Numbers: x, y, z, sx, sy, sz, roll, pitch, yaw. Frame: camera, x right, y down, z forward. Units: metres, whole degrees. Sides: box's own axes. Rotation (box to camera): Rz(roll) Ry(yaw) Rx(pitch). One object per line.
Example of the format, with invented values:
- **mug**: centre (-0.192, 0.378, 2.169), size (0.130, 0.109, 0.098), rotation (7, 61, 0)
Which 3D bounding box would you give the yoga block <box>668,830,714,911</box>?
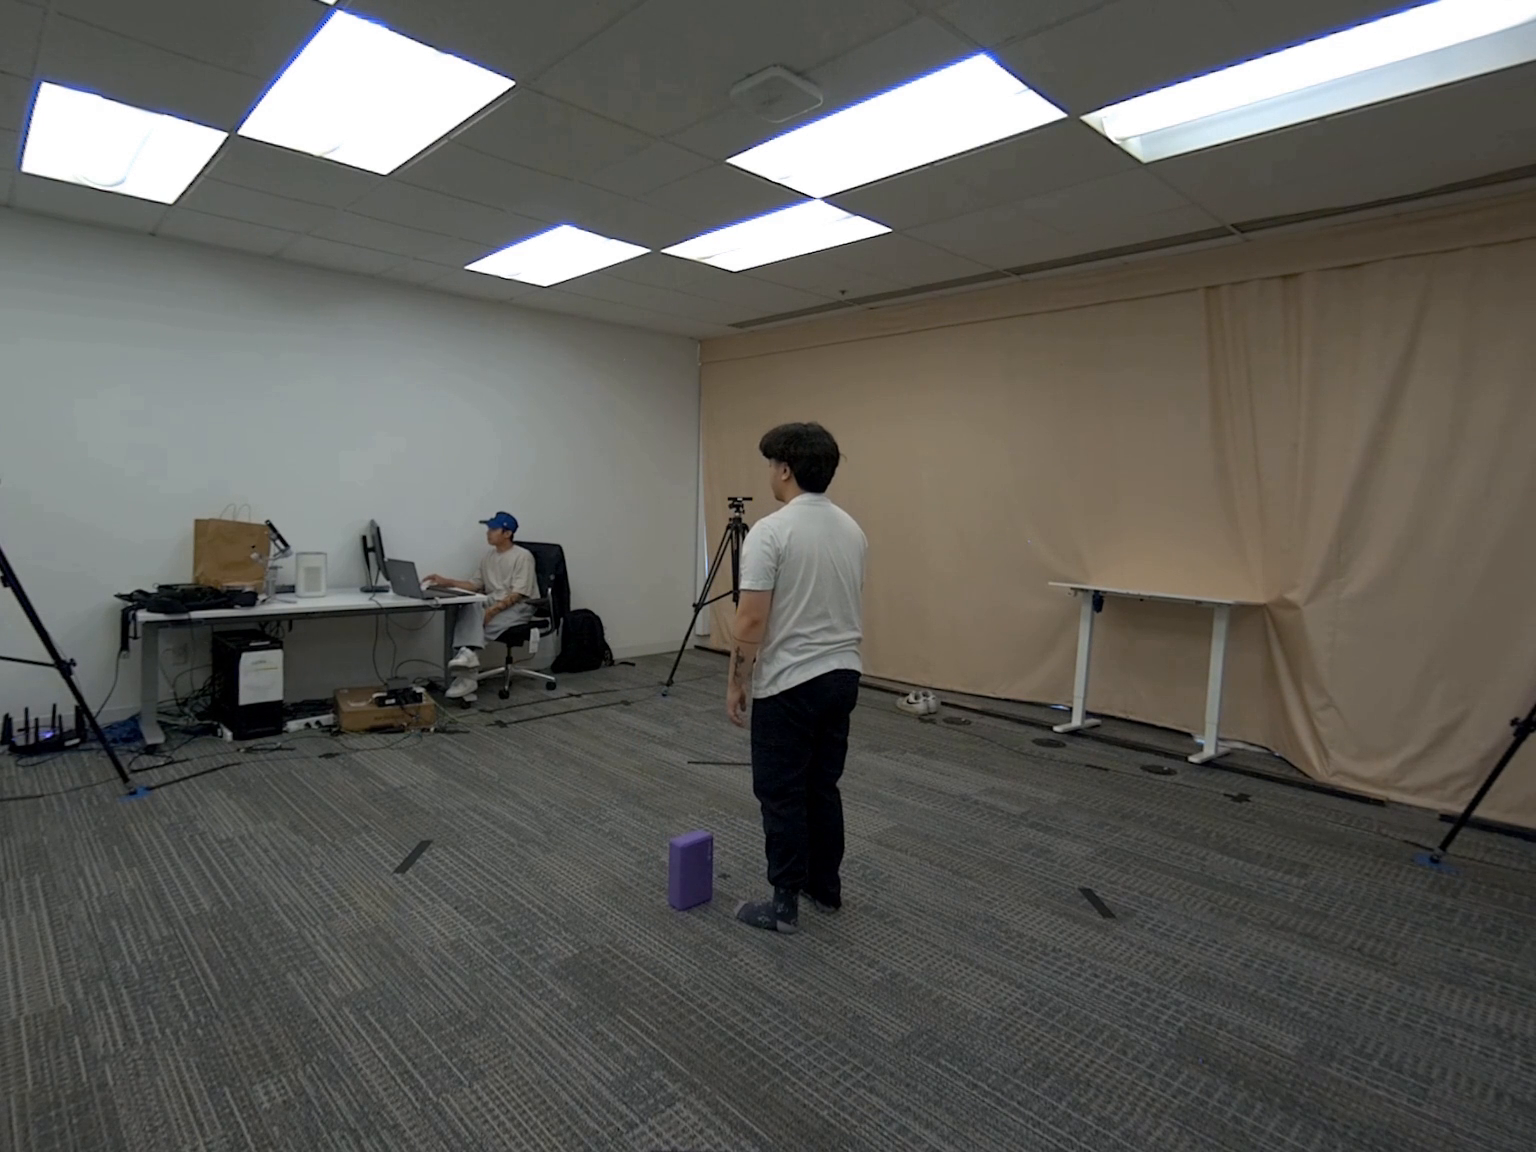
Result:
- **yoga block**: centre (-0.267, 1.002, 2.893), size (0.146, 0.229, 0.078), rotation (-4, 6, -44)
